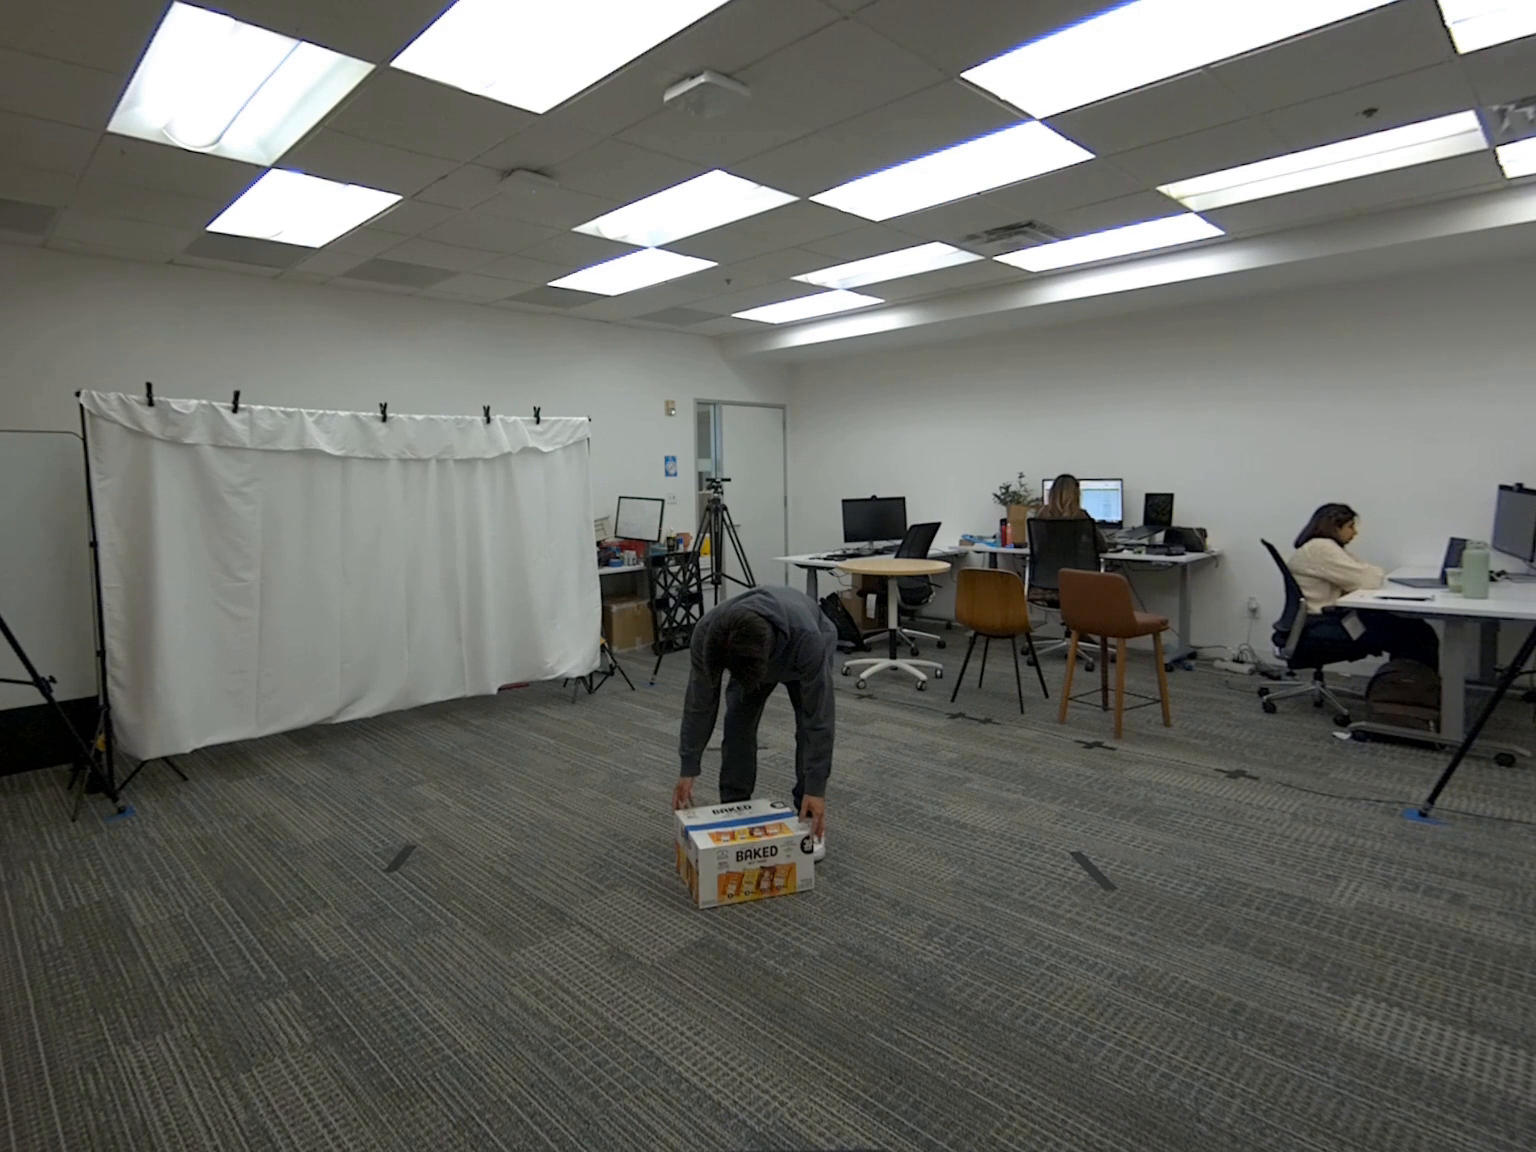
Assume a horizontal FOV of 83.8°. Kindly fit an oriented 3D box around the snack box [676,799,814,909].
[{"bbox_3d":[-0.087,0.954,2.982,0.399,0.205,0.348,-3,7,-19],"label":"snack box"}]
